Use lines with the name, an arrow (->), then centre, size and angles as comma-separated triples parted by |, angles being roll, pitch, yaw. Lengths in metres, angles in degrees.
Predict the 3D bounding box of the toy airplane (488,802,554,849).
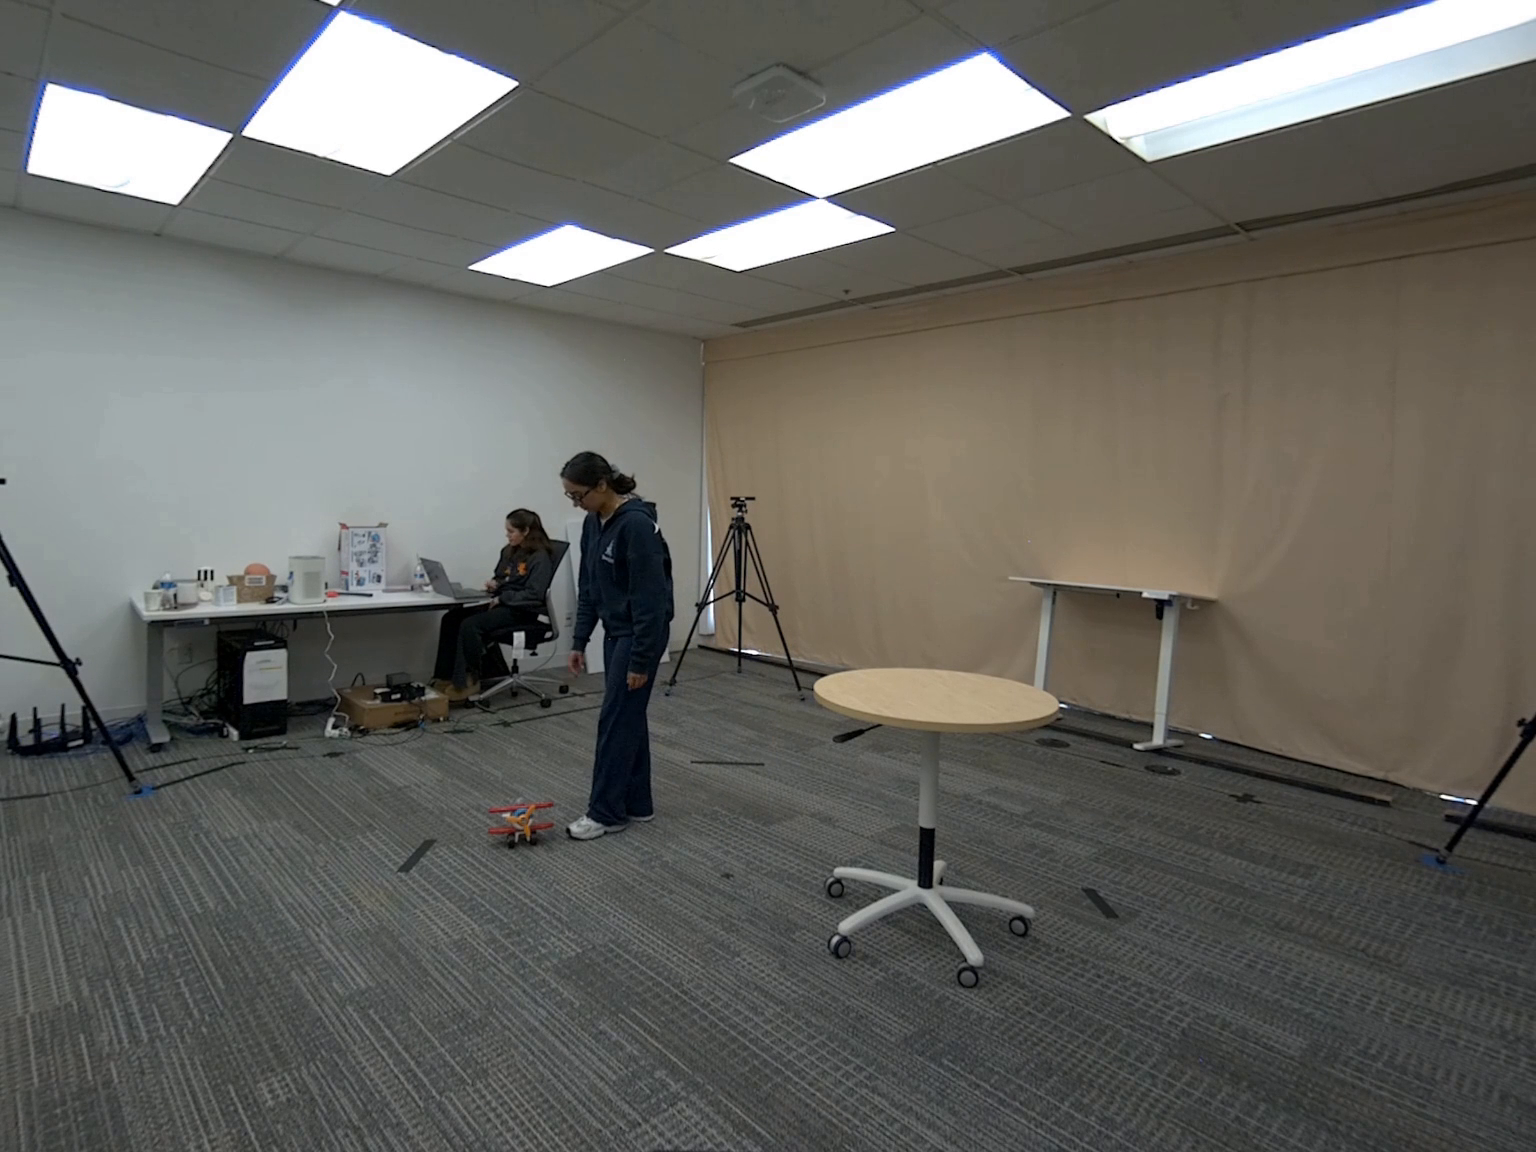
toy airplane -> -1.032, 0.988, 3.402 | 0.266, 0.156, 0.245 | 7, 7, 41
